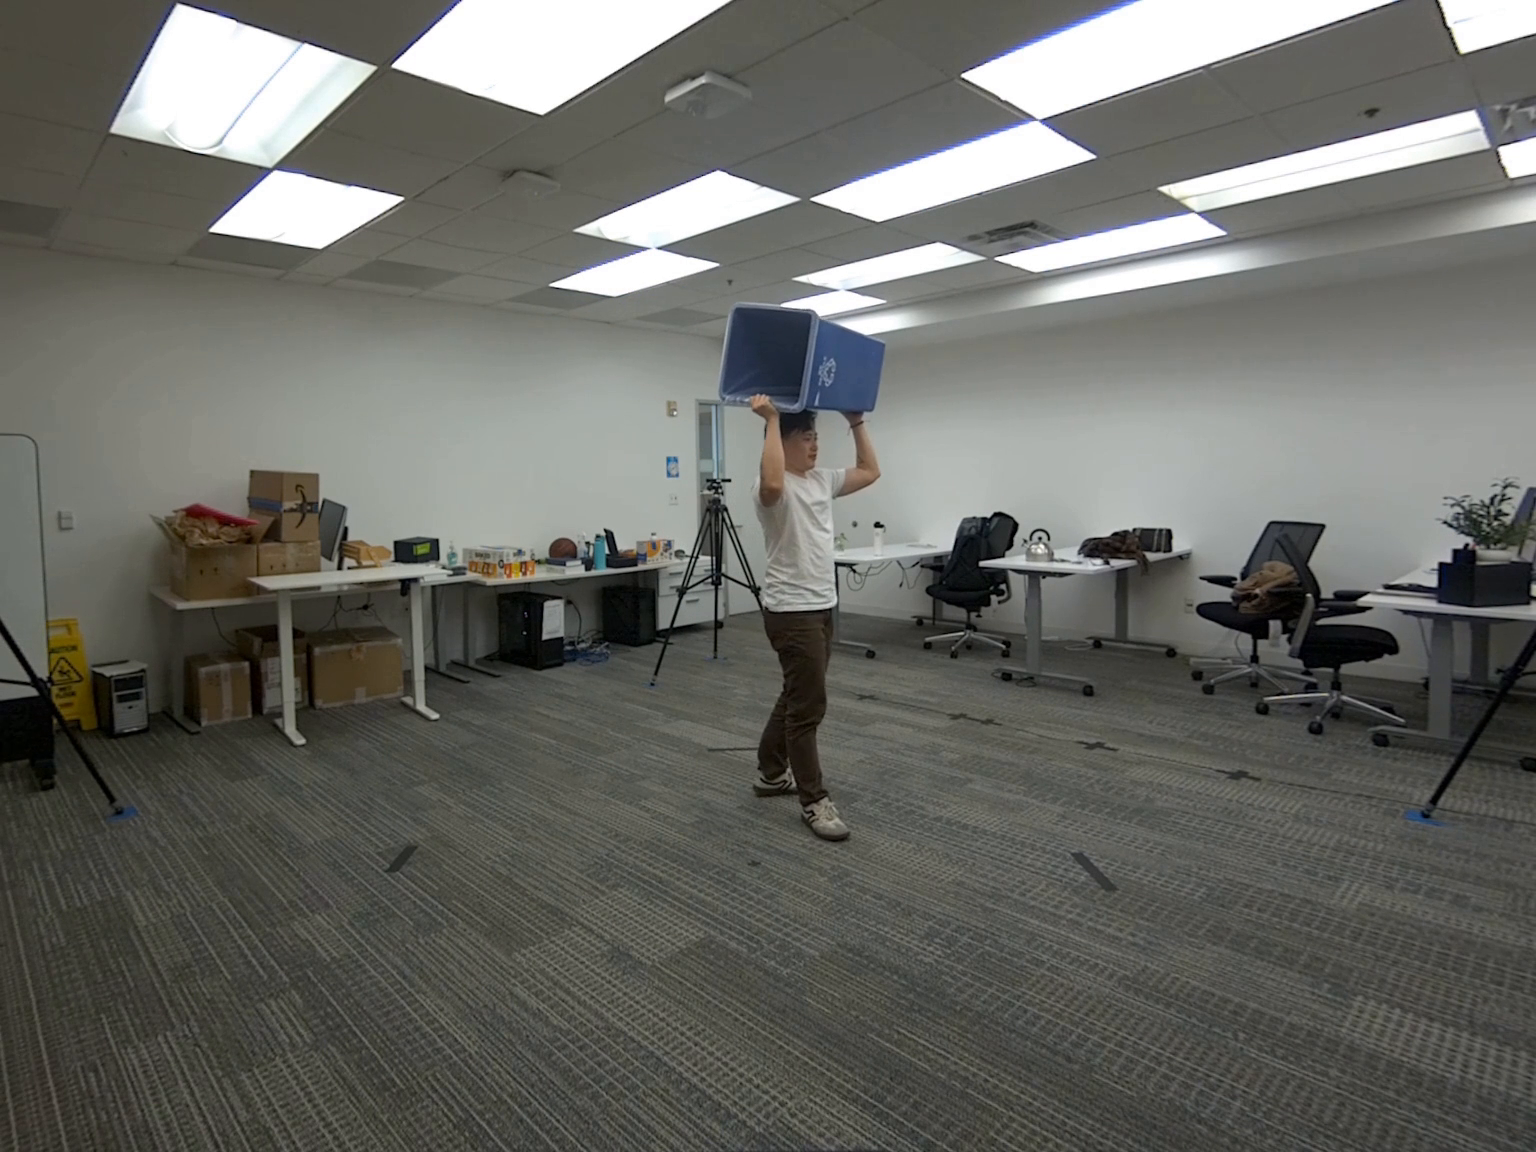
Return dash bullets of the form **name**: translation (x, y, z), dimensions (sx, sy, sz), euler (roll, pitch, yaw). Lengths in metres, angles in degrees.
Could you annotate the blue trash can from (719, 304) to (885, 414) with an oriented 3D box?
- **blue trash can**: translation (0.175, -0.844, 3.406), dimensions (0.386, 0.375, 0.698), euler (15, 14, 30)
